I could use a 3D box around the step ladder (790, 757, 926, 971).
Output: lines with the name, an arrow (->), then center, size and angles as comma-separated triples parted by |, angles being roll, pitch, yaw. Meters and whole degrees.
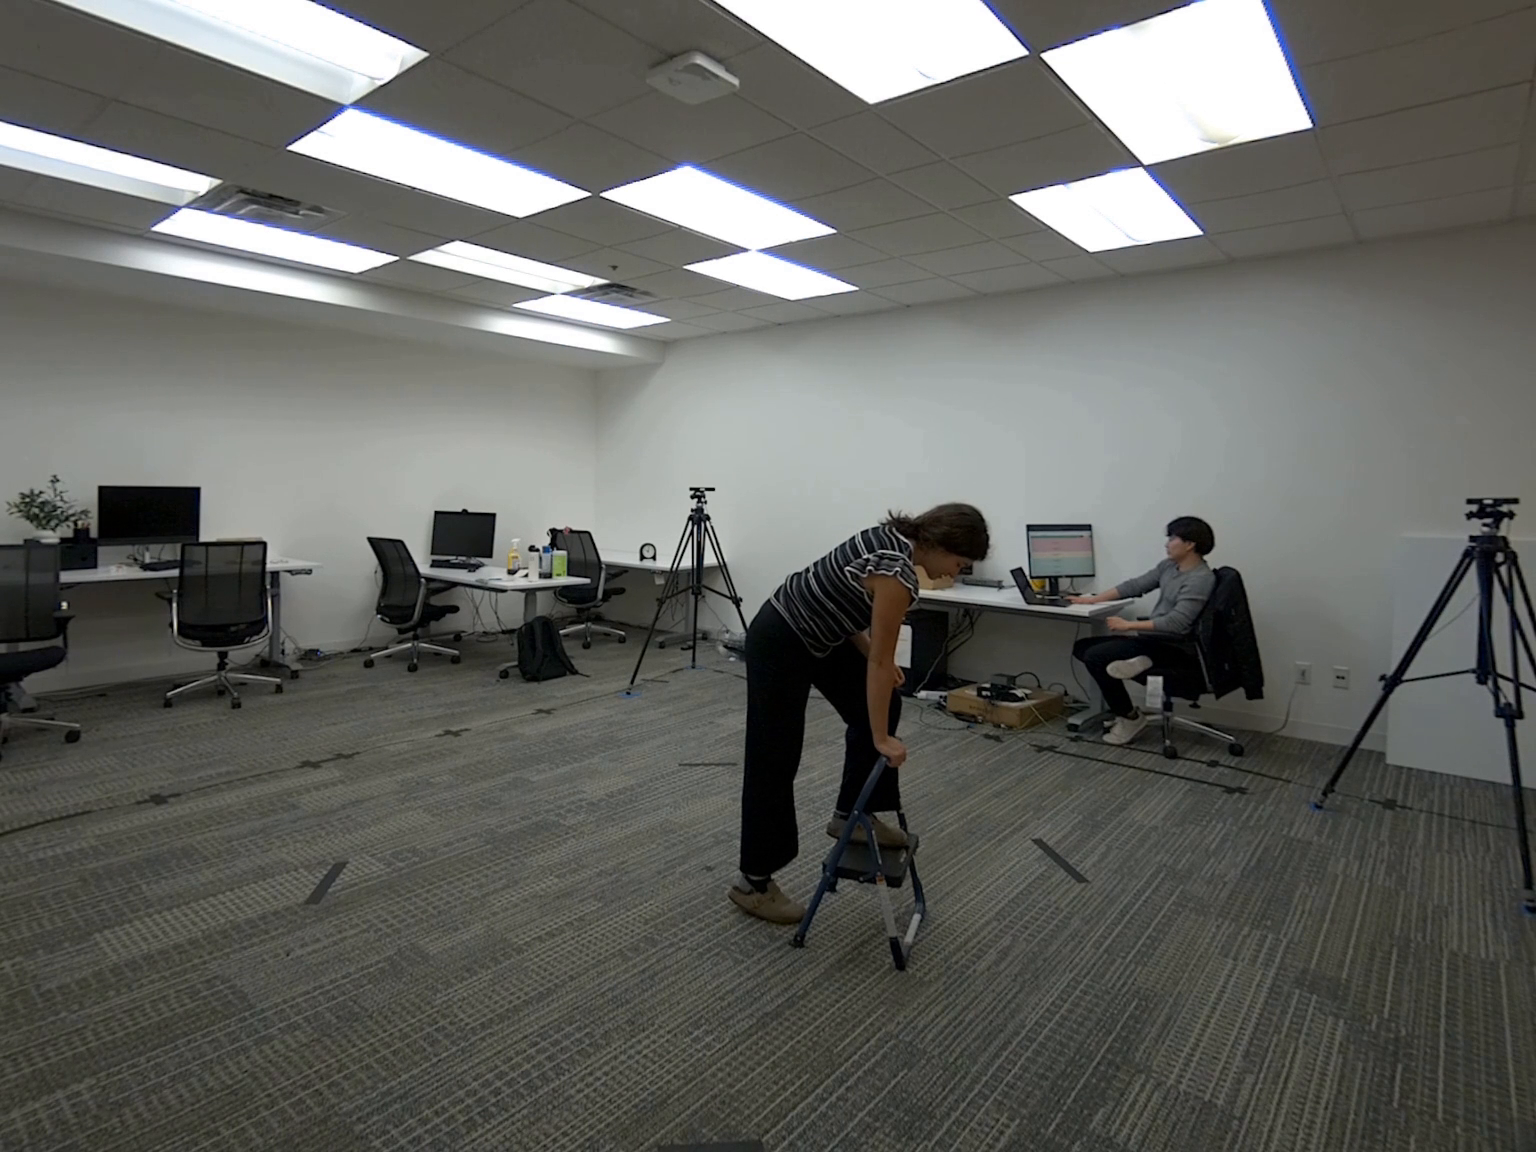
step ladder -> 0.301, 0.816, 2.704 | 0.357, 0.604, 0.422 | 4, 4, 20
